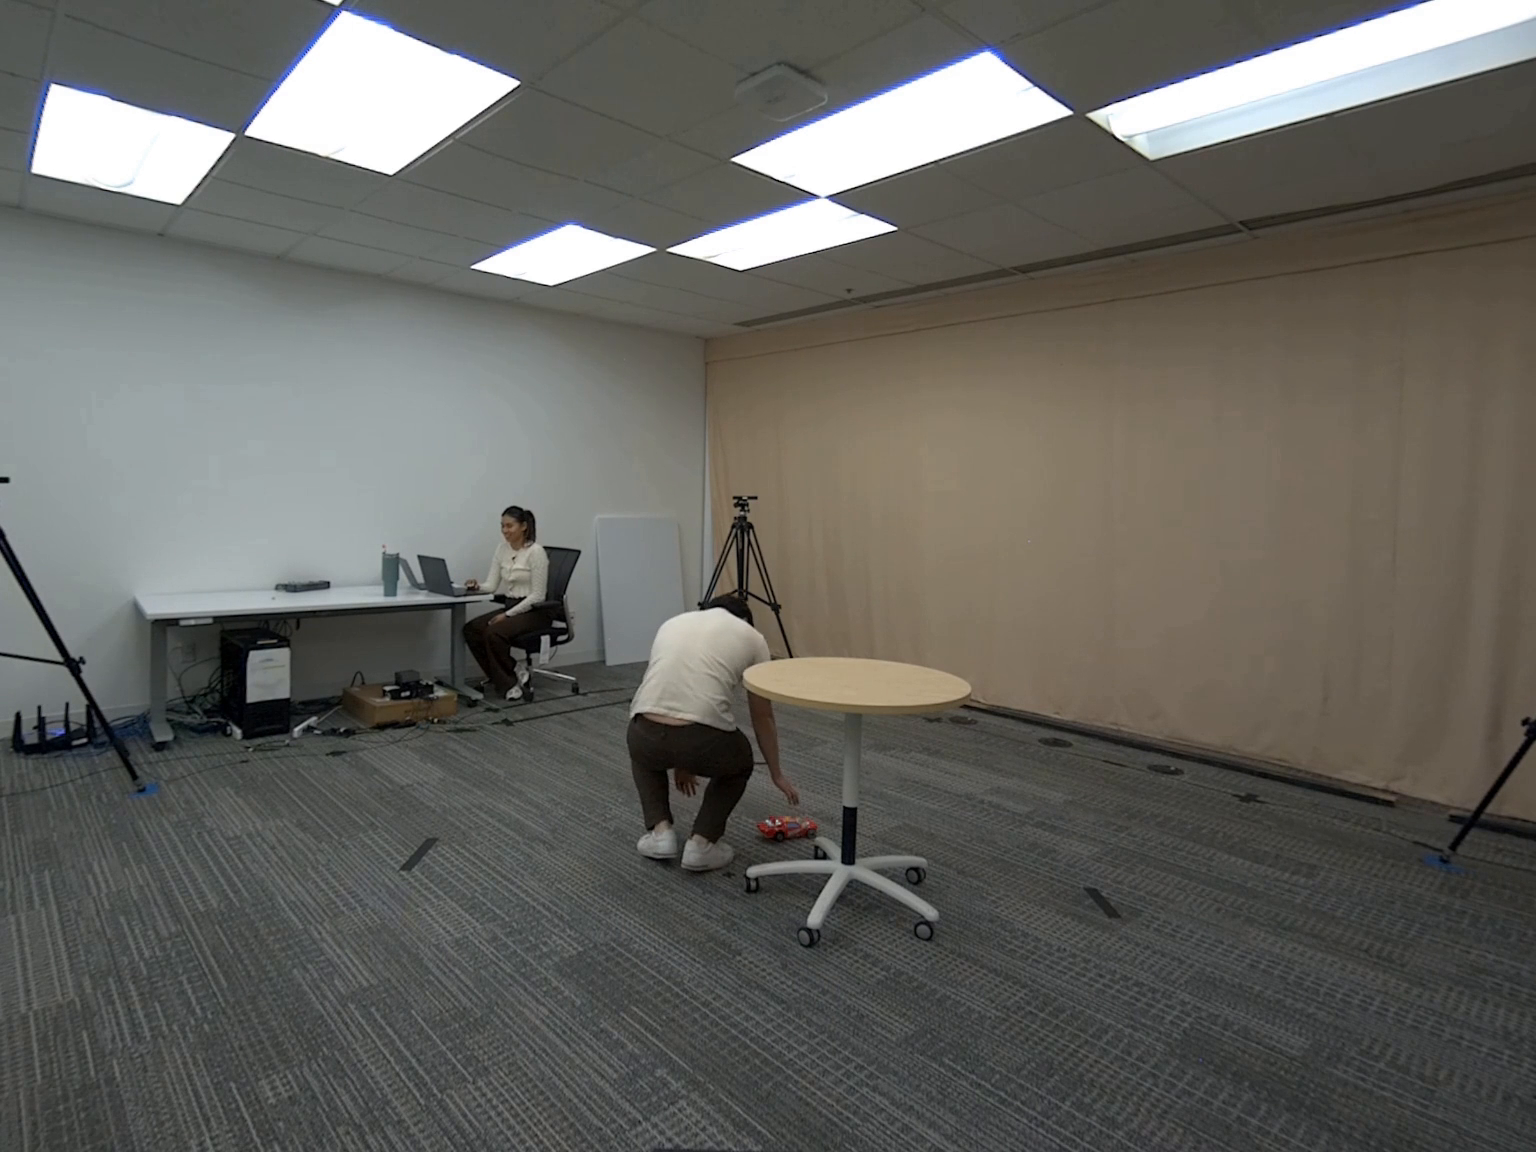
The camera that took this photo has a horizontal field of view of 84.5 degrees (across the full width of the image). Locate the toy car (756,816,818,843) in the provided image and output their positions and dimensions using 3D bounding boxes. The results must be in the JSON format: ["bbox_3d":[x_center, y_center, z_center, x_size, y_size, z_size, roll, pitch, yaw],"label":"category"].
[{"bbox_3d":[0.062,1.045,3.485,0.250,0.083,0.133,11,2,-21],"label":"toy car"}]
